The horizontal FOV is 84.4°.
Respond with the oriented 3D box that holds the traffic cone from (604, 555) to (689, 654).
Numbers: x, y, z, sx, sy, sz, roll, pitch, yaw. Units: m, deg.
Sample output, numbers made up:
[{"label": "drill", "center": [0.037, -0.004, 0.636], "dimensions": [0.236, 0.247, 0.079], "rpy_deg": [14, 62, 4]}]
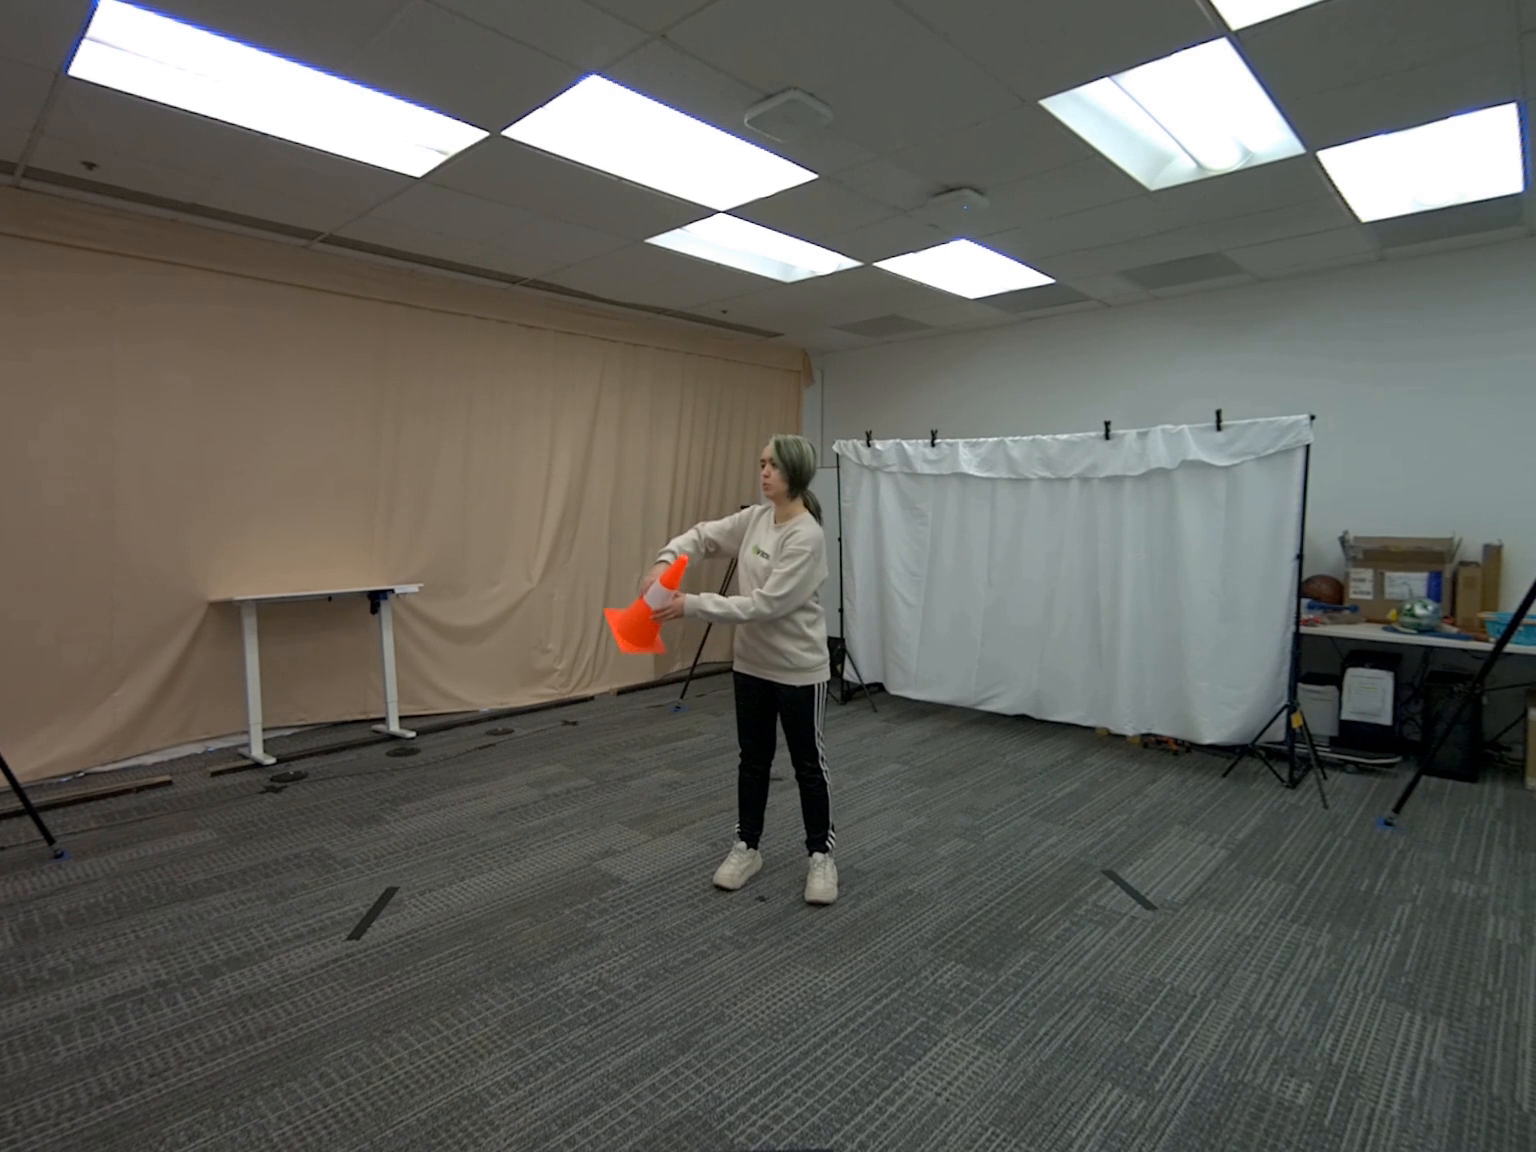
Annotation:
[{"label": "traffic cone", "center": [-0.363, 0.069, 2.940], "dimensions": [0.196, 0.385, 0.211], "rpy_deg": [10, 40, -40]}]
